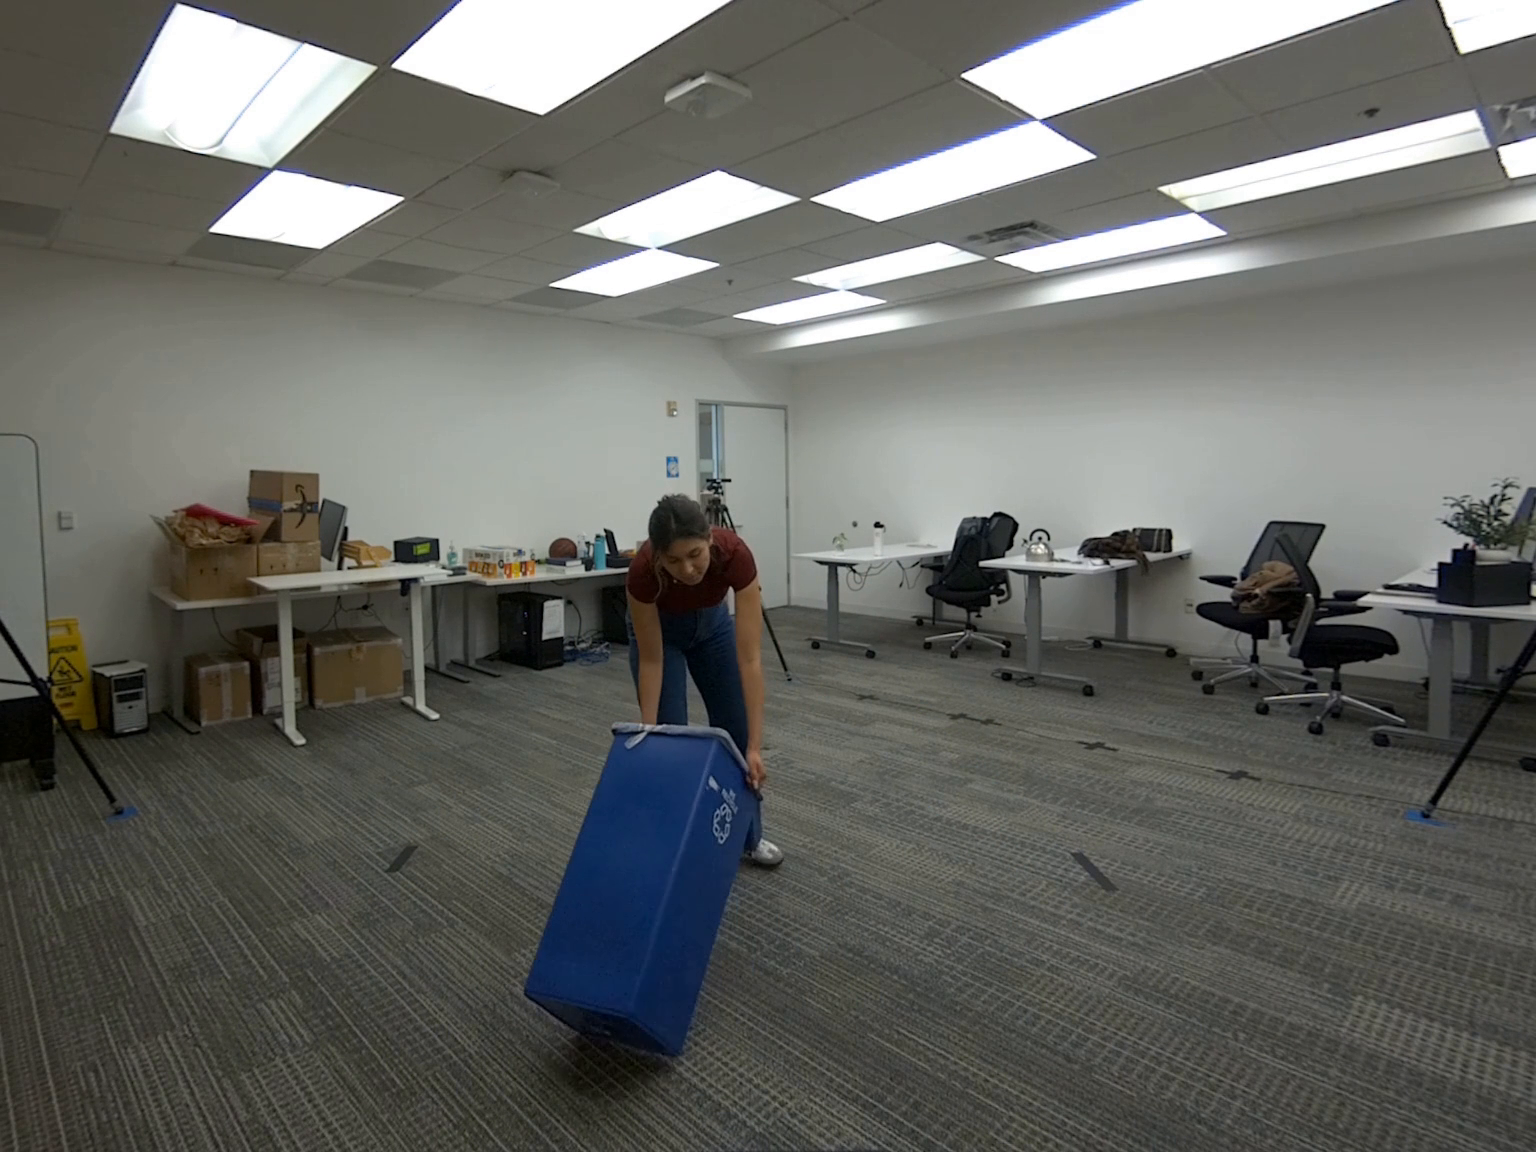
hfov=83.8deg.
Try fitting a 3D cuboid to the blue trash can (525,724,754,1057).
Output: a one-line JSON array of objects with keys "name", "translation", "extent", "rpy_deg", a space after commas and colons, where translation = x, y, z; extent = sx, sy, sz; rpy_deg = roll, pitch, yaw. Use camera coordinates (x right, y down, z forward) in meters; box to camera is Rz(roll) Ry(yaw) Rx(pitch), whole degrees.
[{"name": "blue trash can", "translation": [-0.294, 0.803, 2.252], "extent": [0.386, 0.725, 0.360], "rpy_deg": [-3, -43, 24]}]
